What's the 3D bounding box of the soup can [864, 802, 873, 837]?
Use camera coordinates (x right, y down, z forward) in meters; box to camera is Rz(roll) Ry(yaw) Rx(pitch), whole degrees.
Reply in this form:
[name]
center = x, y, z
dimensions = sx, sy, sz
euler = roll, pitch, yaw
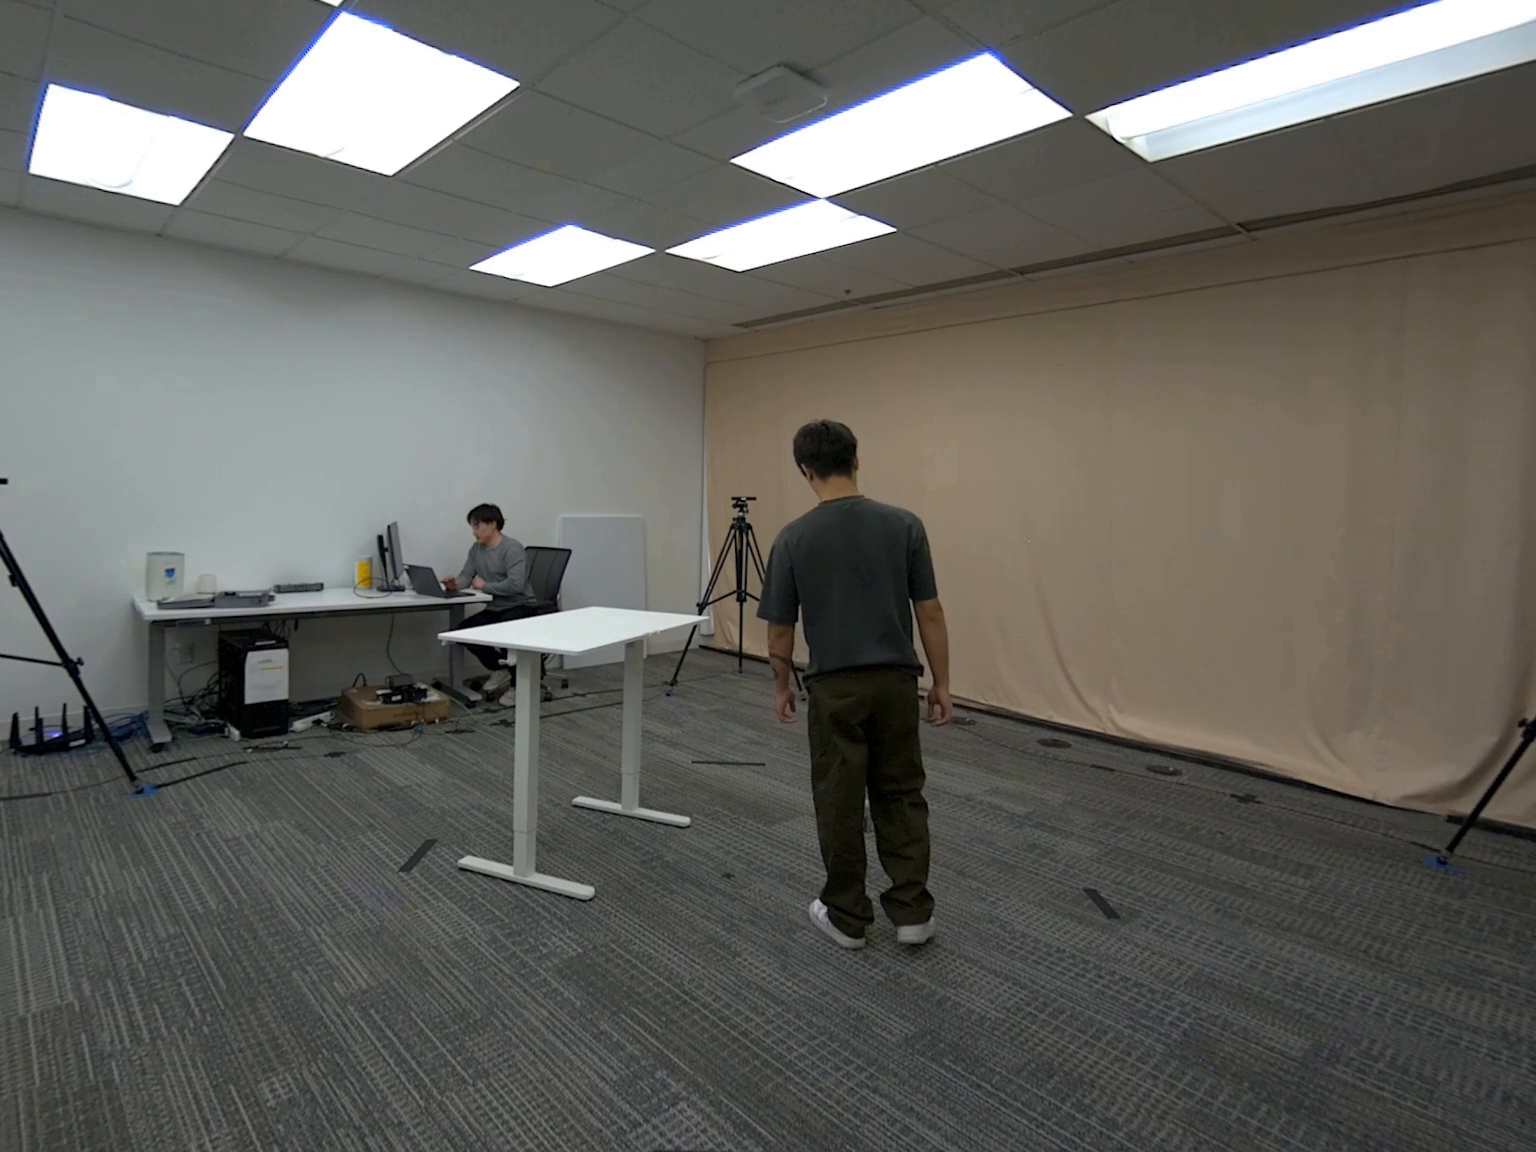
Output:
[soup can]
center = 0.403, 1.026, 3.577
dimensions = 0.067, 0.121, 0.067
euler = 2, 2, -1
